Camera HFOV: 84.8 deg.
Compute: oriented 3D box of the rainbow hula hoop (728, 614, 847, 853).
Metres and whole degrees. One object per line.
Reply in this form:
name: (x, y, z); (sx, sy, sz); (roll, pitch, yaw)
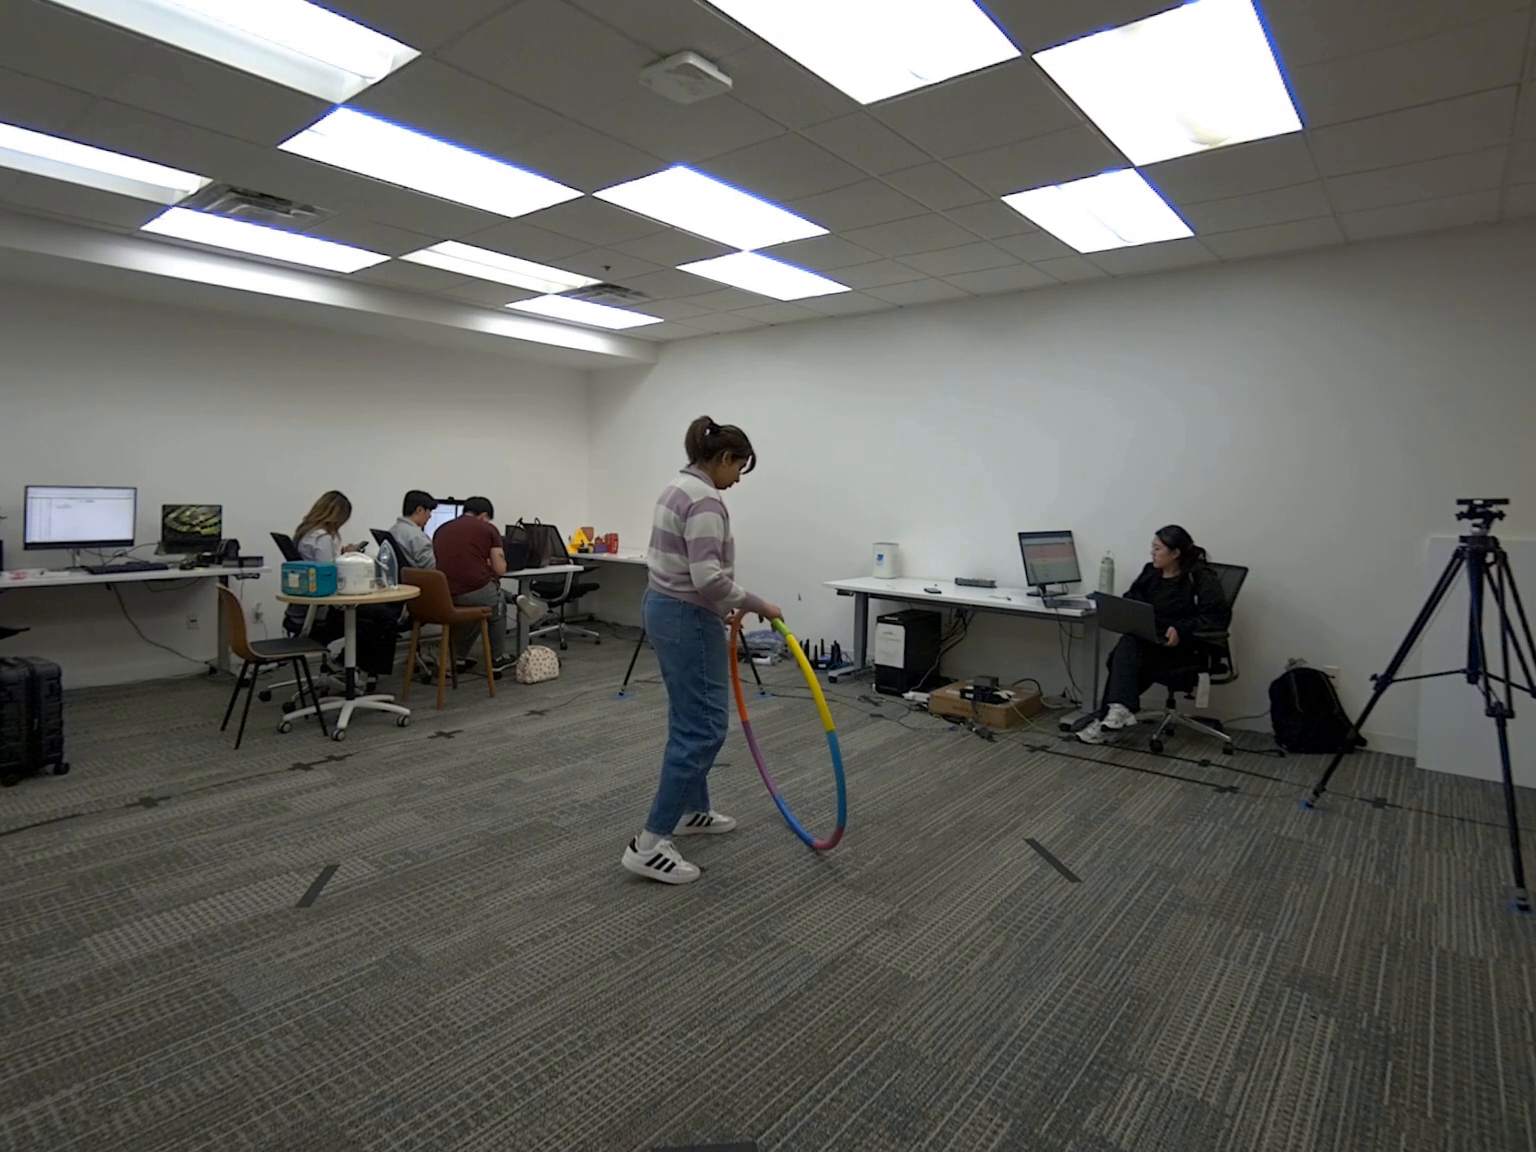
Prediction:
rainbow hula hoop: (0.044, 0.579, 3.339); (0.051, 0.977, 1.009); (-14, 9, -20)
